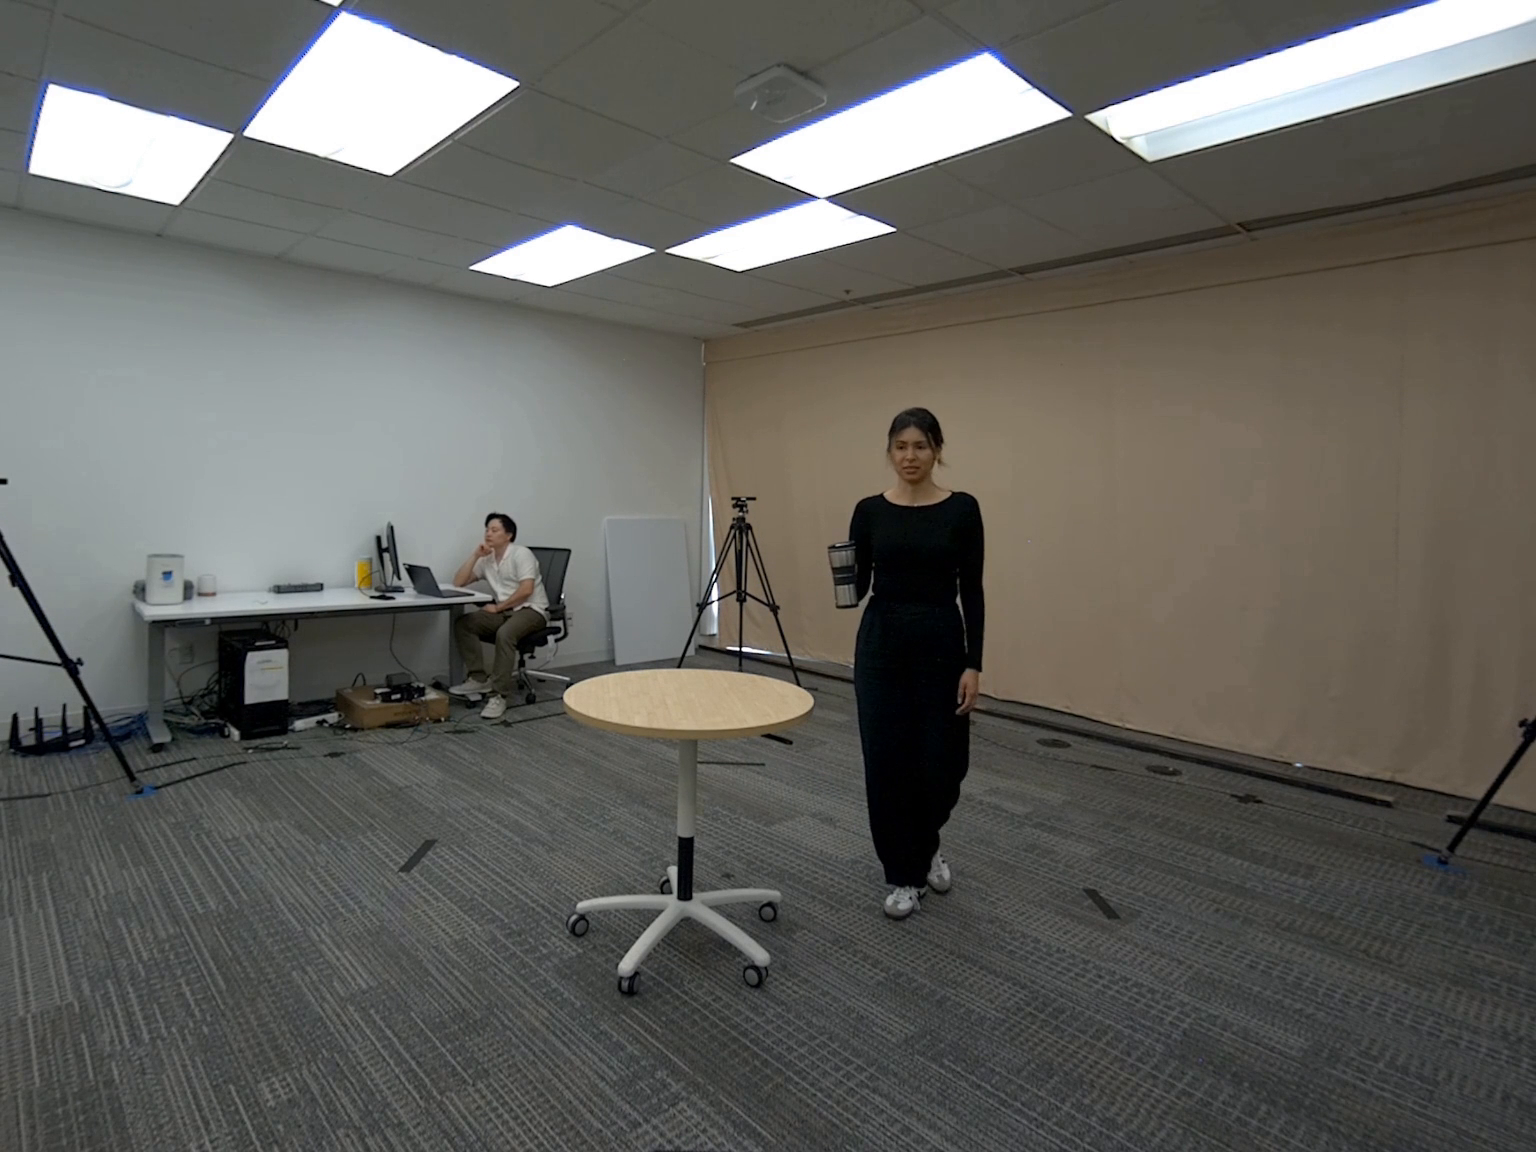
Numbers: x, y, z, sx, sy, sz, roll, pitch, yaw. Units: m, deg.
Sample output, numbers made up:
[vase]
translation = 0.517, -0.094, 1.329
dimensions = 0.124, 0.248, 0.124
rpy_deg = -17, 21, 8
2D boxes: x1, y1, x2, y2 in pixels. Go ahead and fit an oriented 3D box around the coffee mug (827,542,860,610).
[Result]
[coffee mug]
translation = 0.253, -0.003, 2.661
dimensions = 0.089, 0.202, 0.120
rpy_deg = -7, 3, 33
